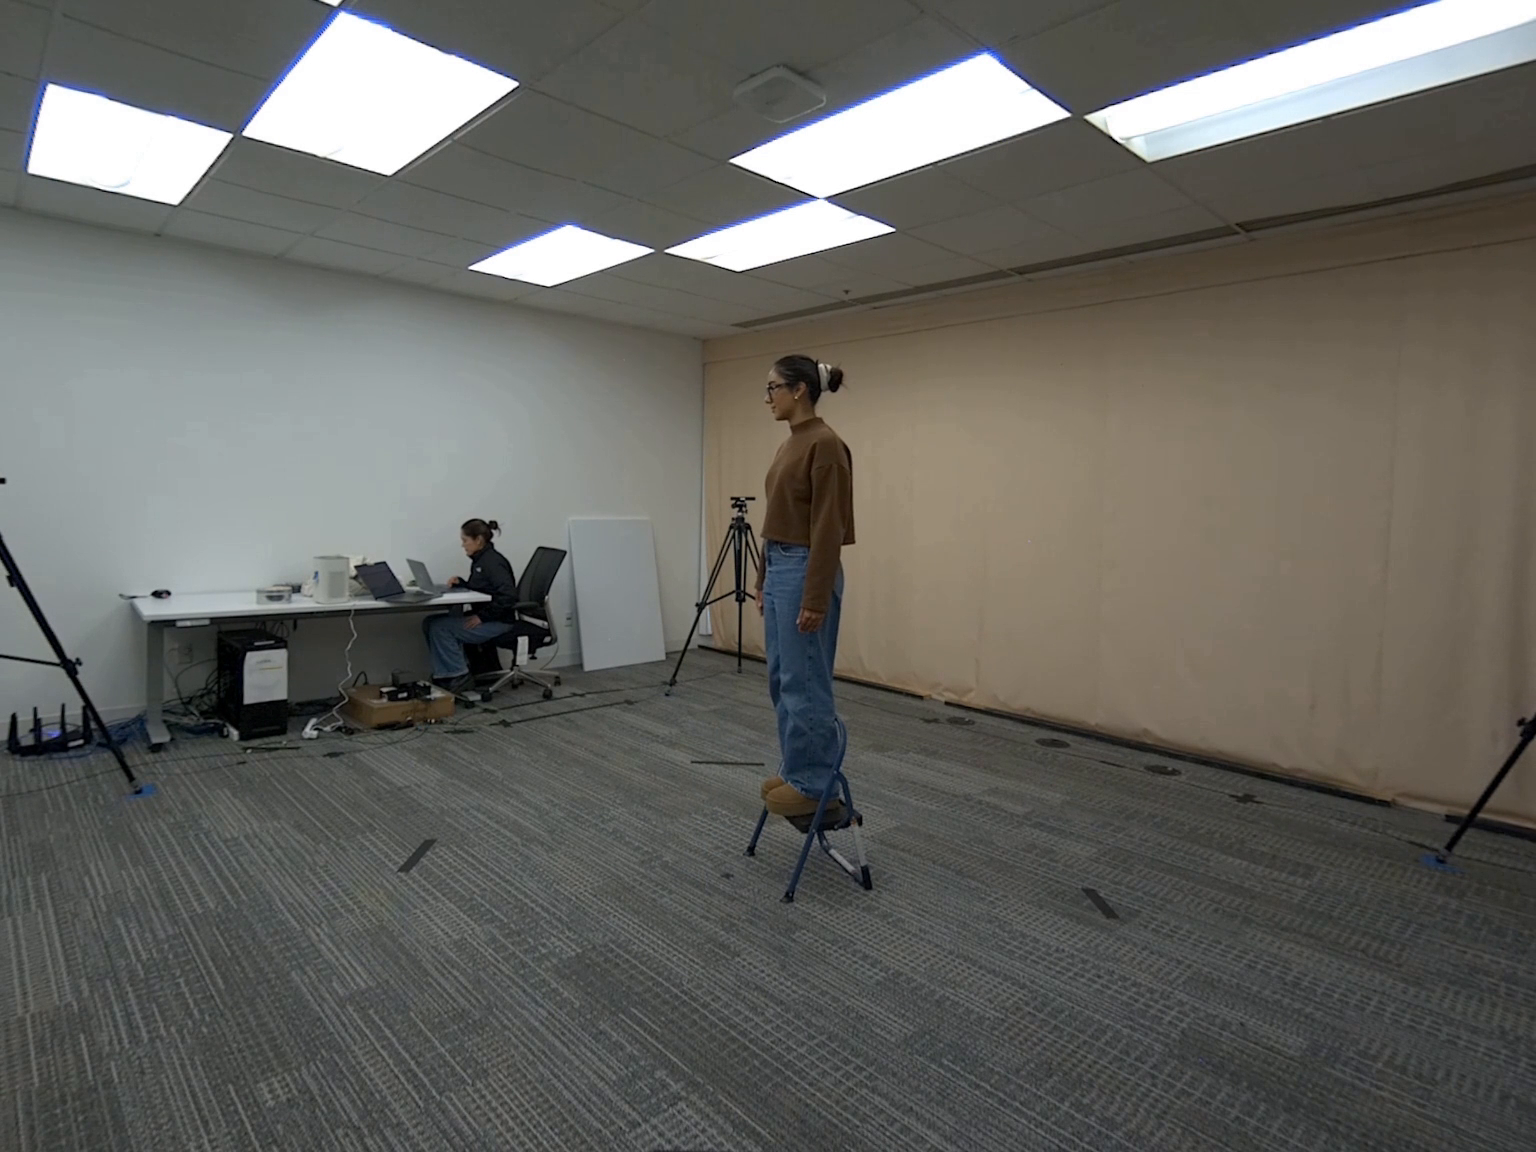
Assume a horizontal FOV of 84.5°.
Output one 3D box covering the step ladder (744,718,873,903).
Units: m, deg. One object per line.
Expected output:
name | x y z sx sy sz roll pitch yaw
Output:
step ladder | 0.148 0.812 3.140 0.344 0.605 0.438 0 4 -21
